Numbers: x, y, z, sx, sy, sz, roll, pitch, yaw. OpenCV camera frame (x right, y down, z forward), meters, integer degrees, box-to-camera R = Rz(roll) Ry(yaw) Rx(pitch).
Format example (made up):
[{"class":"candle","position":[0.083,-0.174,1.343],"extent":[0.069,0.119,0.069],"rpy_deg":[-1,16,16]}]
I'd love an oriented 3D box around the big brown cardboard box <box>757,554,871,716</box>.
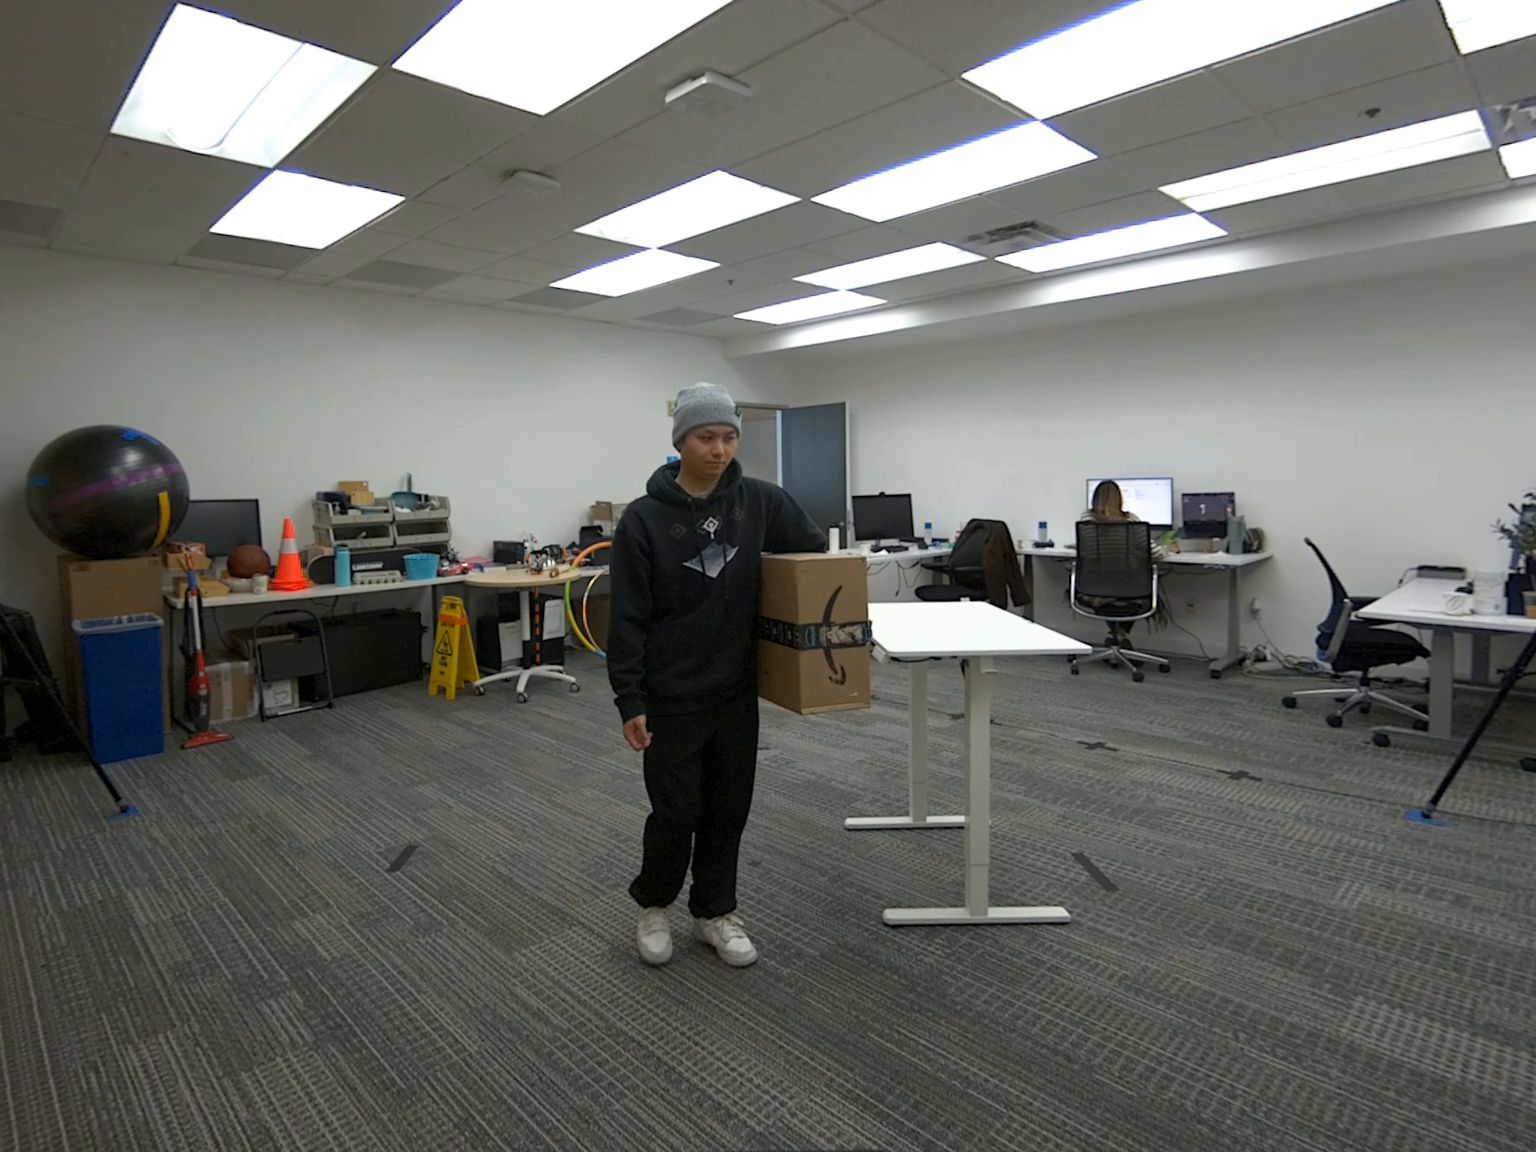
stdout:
[{"class":"big brown cardboard box","position":[0.066,0.145,2.544],"extent":[0.228,0.417,0.602],"rpy_deg":[-2,3,-24]}]
